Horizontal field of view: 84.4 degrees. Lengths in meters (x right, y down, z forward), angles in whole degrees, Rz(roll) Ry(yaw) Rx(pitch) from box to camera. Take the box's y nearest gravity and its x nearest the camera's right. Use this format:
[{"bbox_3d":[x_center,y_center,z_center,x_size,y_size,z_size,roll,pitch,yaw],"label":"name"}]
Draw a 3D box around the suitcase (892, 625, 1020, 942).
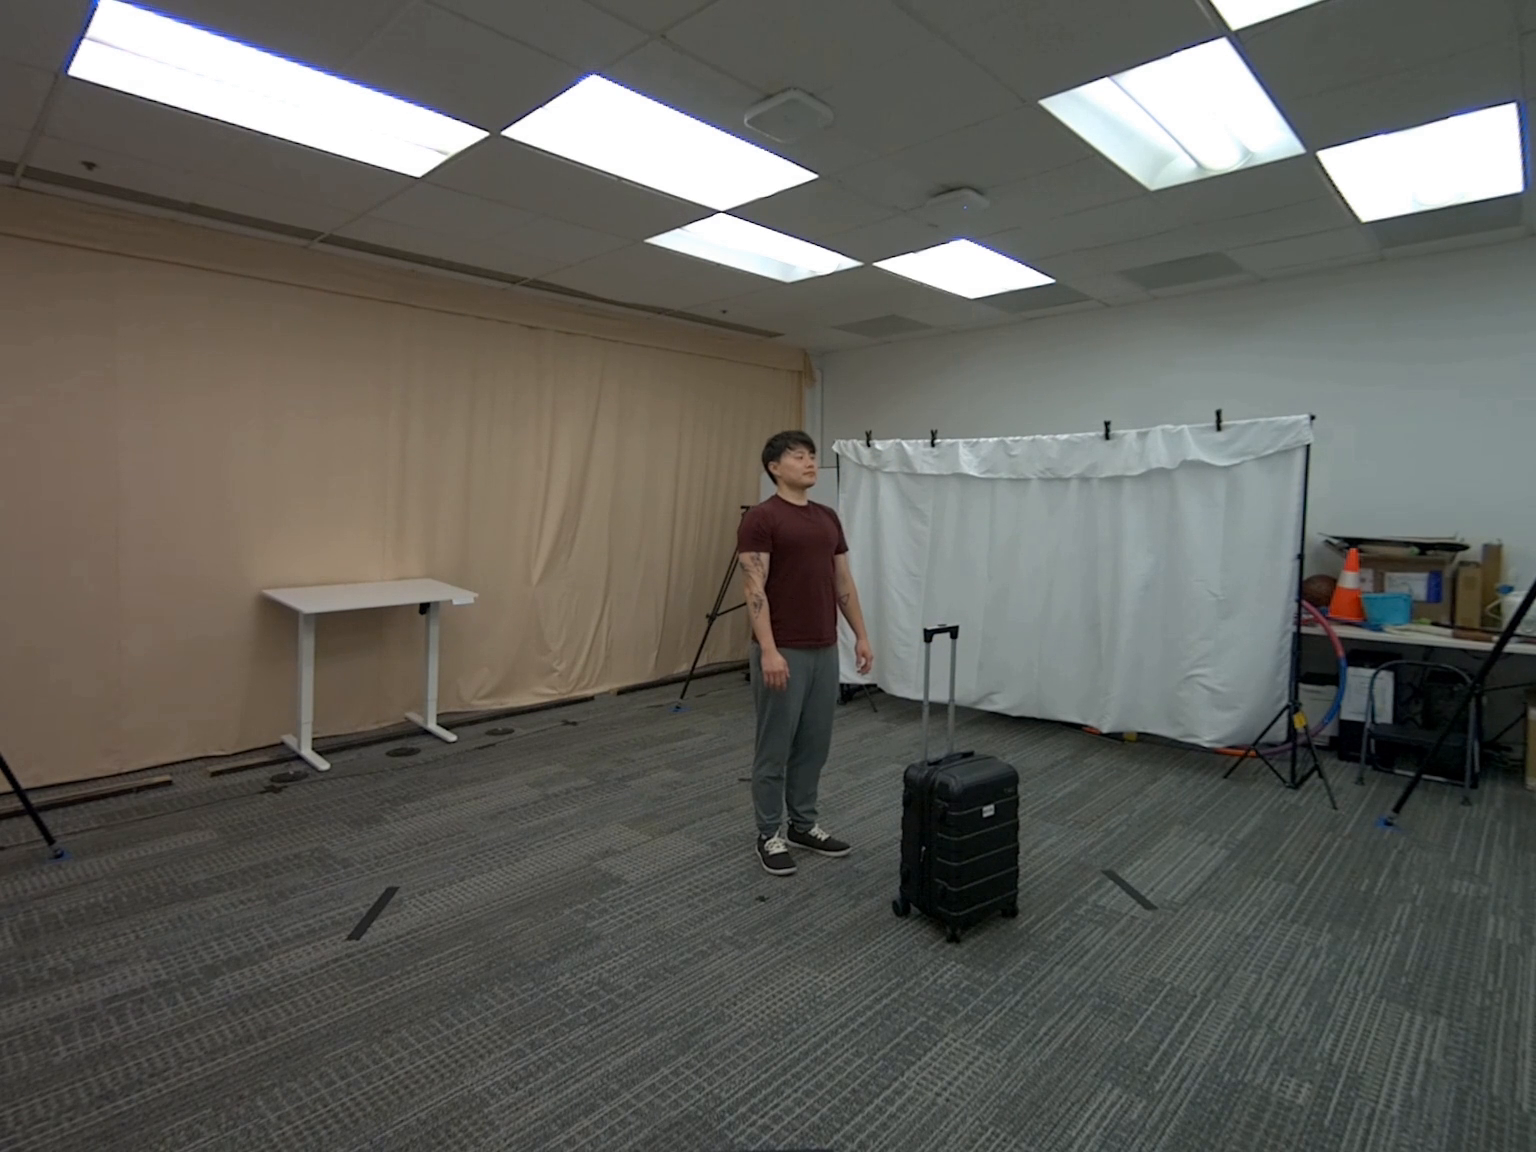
[{"bbox_3d":[0.657,0.682,2.804,0.373,0.975,0.265,-2,7,-32],"label":"suitcase"}]
